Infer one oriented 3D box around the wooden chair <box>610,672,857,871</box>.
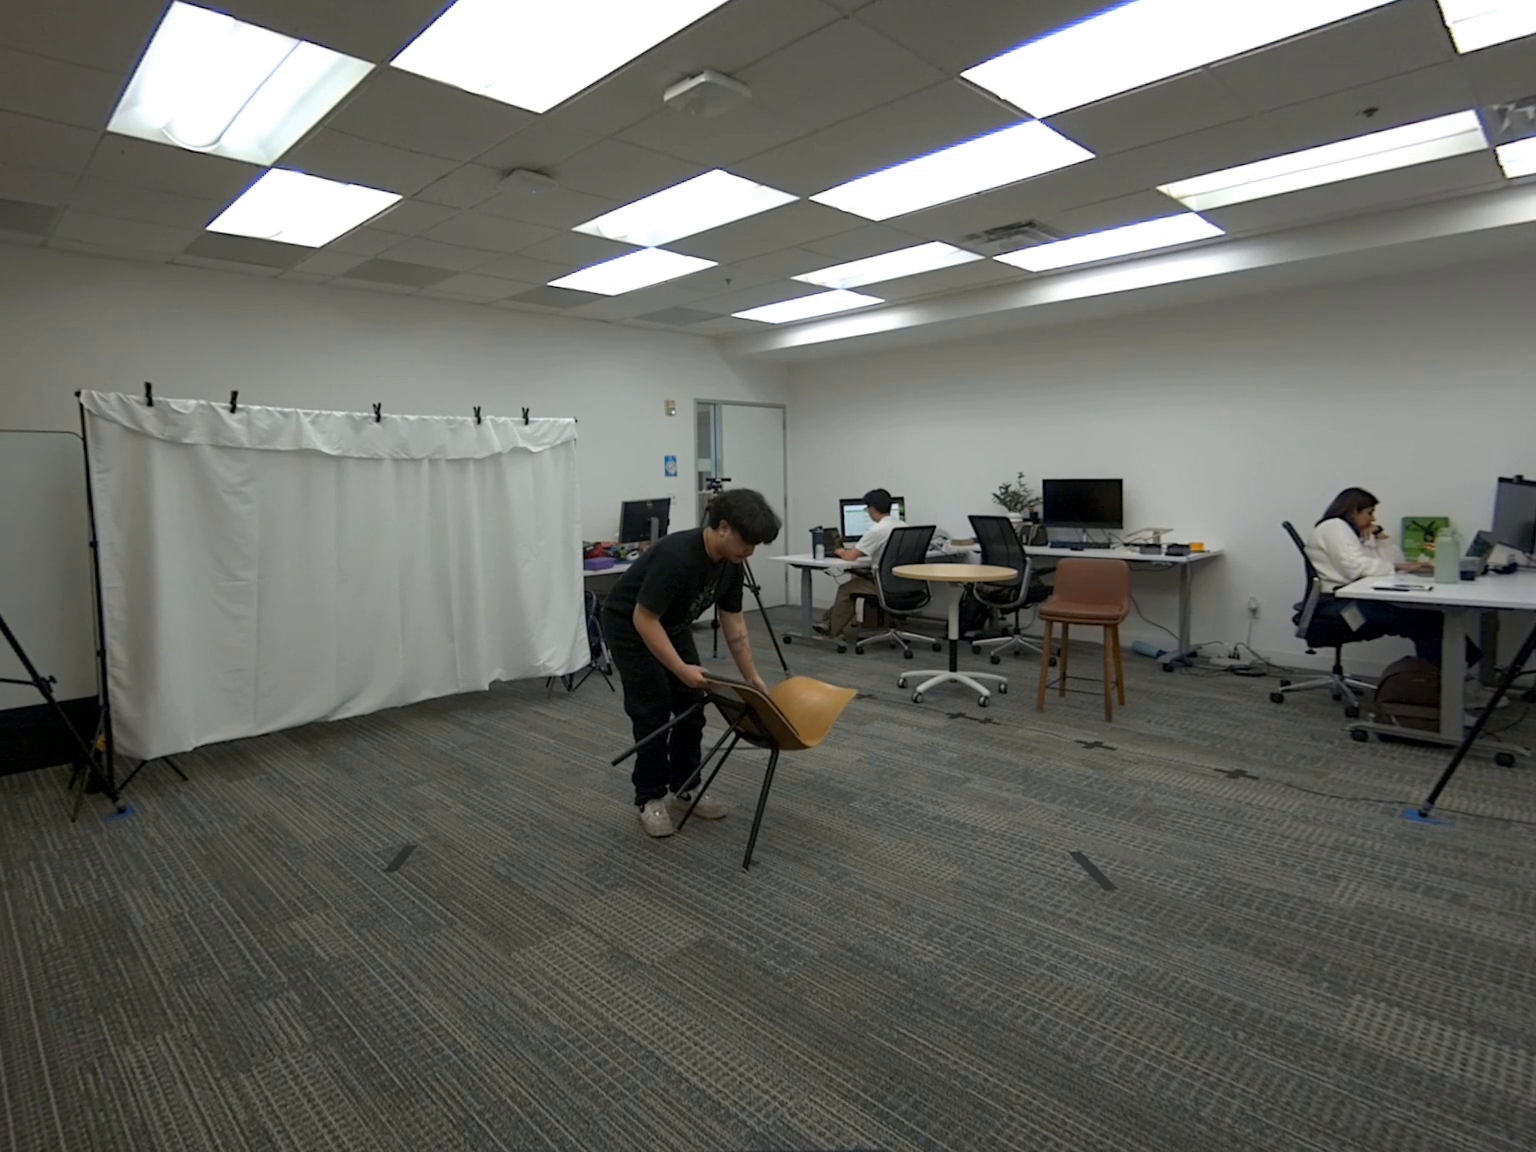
[{"bbox_3d":[-0.093,0.566,3.278,0.492,0.508,0.877,5,45,51],"label":"wooden chair"}]
